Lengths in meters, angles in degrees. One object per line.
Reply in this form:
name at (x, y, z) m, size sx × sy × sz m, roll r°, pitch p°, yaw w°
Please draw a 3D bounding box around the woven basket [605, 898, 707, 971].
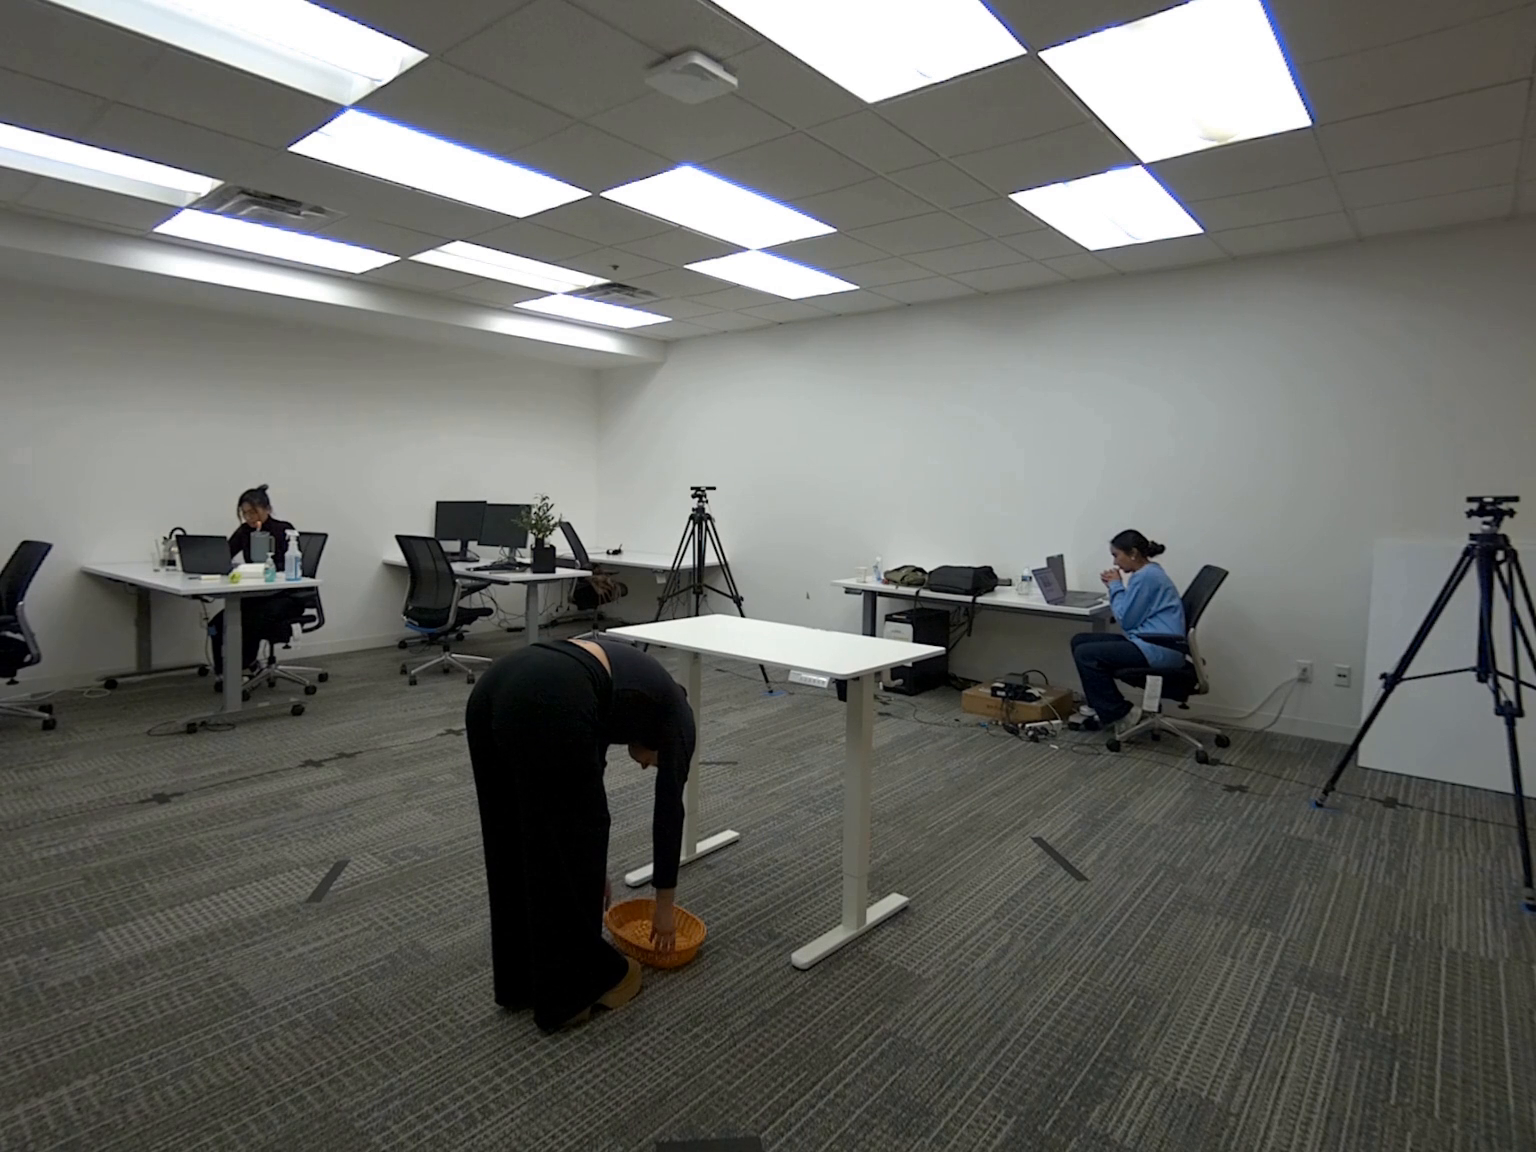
woven basket at (-0.349, 1.066, 2.569) m, size 0.362 × 0.073 × 0.244 m, roll 7°, pitch 6°, yaw 43°
